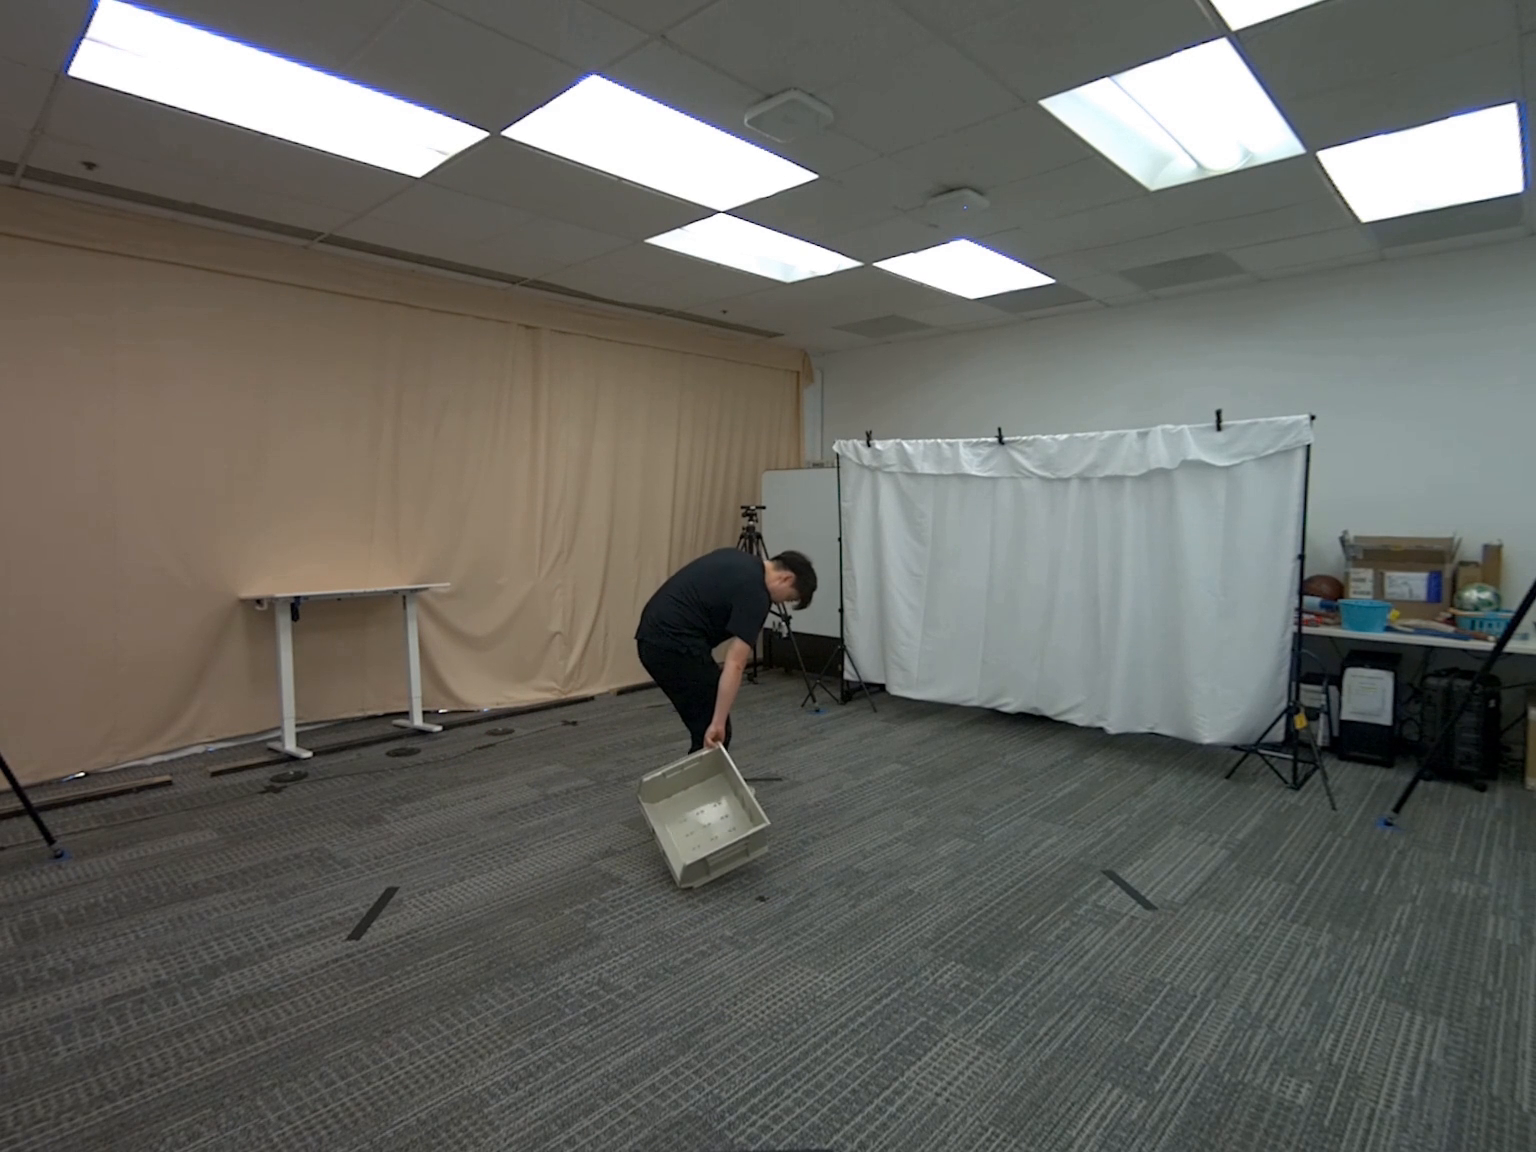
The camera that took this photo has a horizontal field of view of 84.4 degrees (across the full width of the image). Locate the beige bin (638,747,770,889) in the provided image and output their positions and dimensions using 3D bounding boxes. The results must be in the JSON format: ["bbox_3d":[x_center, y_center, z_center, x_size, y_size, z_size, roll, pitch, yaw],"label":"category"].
[{"bbox_3d":[-0.249,0.913,3.190,0.372,0.185,0.437,-22,43,-20],"label":"beige bin"}]
